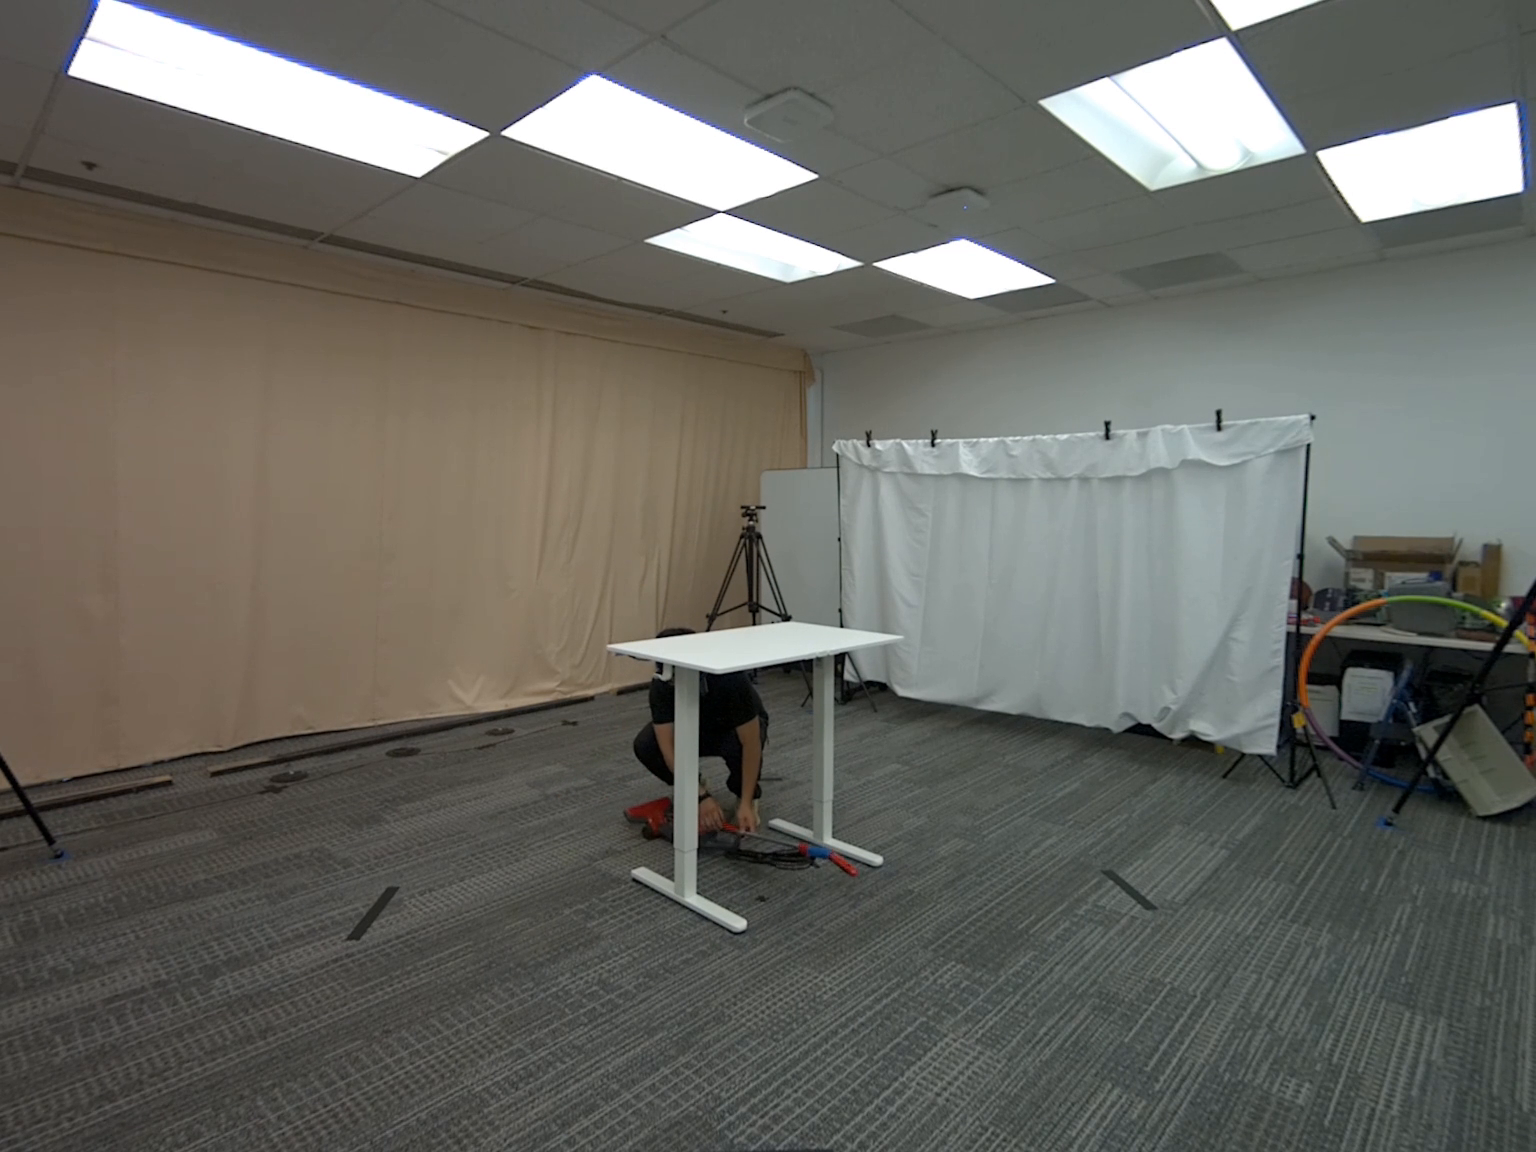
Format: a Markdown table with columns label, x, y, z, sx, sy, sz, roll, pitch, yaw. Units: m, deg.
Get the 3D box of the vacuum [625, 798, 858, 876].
| label | x | y | z | sx | sy | sz | roll | pitch | yaw |
| --- | --- | --- | --- | --- | --- | --- | --- | --- | --- |
| vacuum | -0.092 | 1.026 | 3.221 | 1.083 | 0.144 | 0.244 | 0 | -1 | 43 |
